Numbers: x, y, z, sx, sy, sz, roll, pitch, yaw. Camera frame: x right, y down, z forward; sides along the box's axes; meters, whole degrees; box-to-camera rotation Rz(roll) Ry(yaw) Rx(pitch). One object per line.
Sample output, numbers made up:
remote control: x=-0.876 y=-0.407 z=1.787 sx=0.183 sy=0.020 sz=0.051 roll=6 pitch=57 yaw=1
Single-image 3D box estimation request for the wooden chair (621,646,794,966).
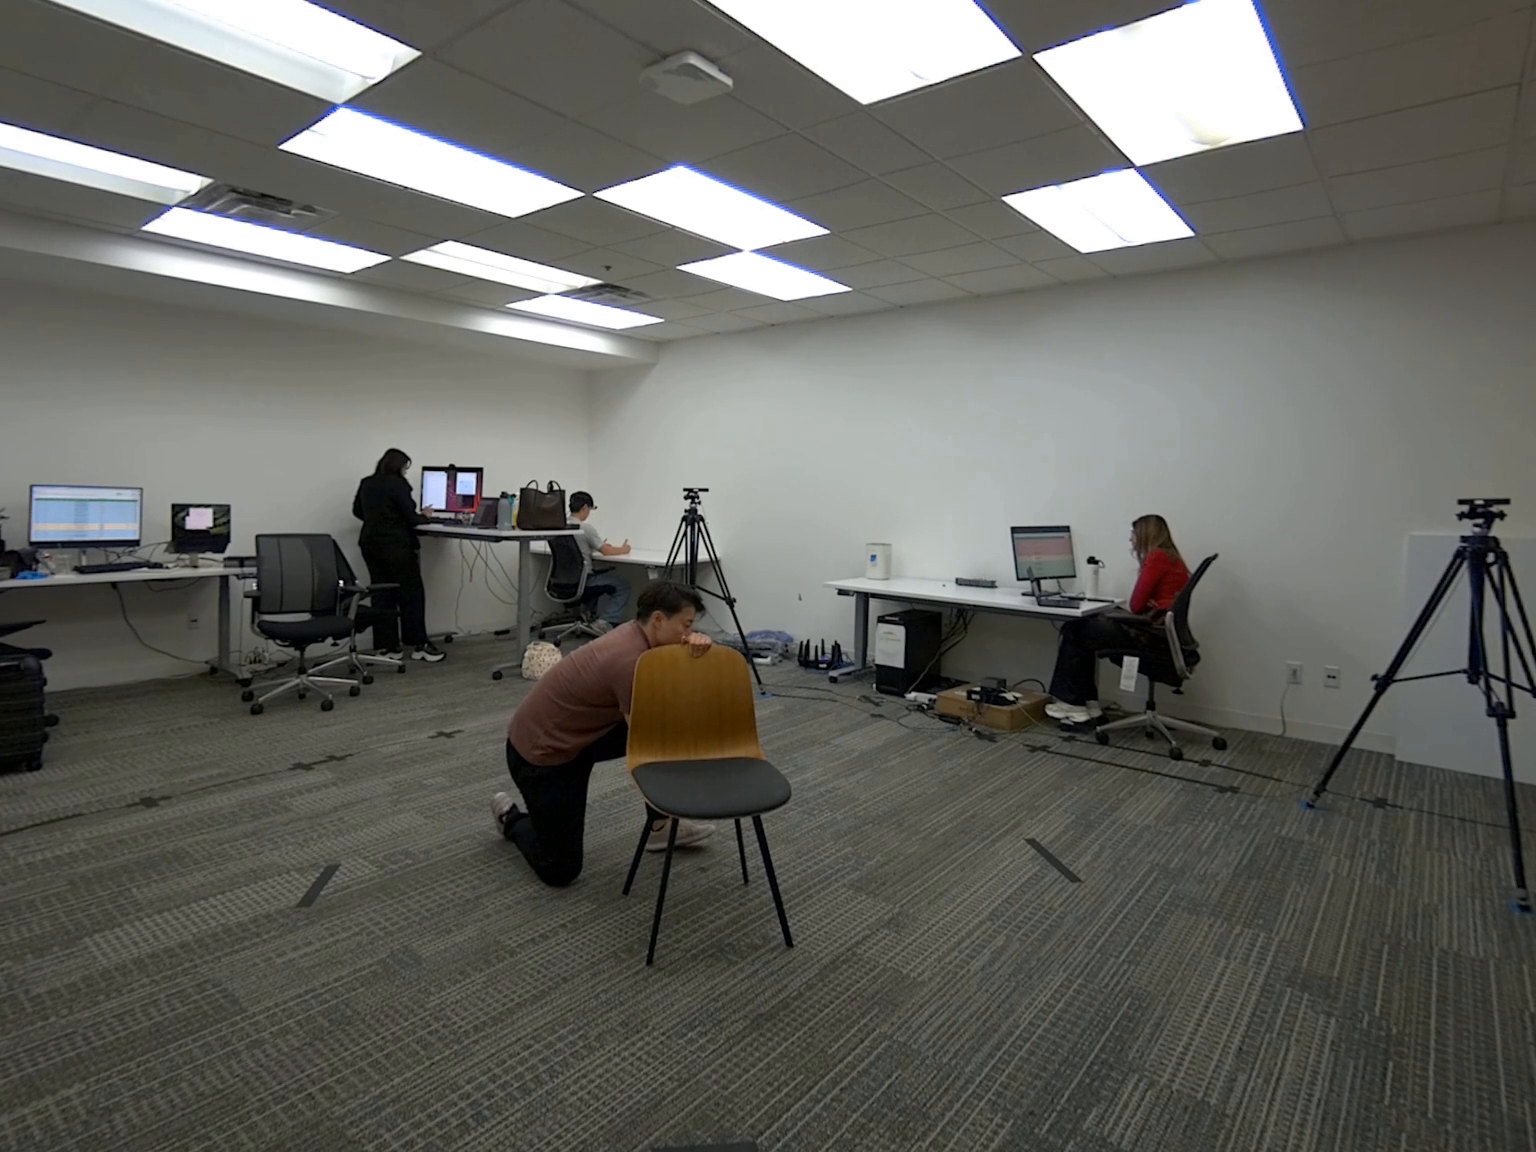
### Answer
wooden chair: x=-0.197 y=0.683 z=2.705 sx=0.470 sy=0.878 sz=0.532 roll=1 pitch=-1 yaw=-17
